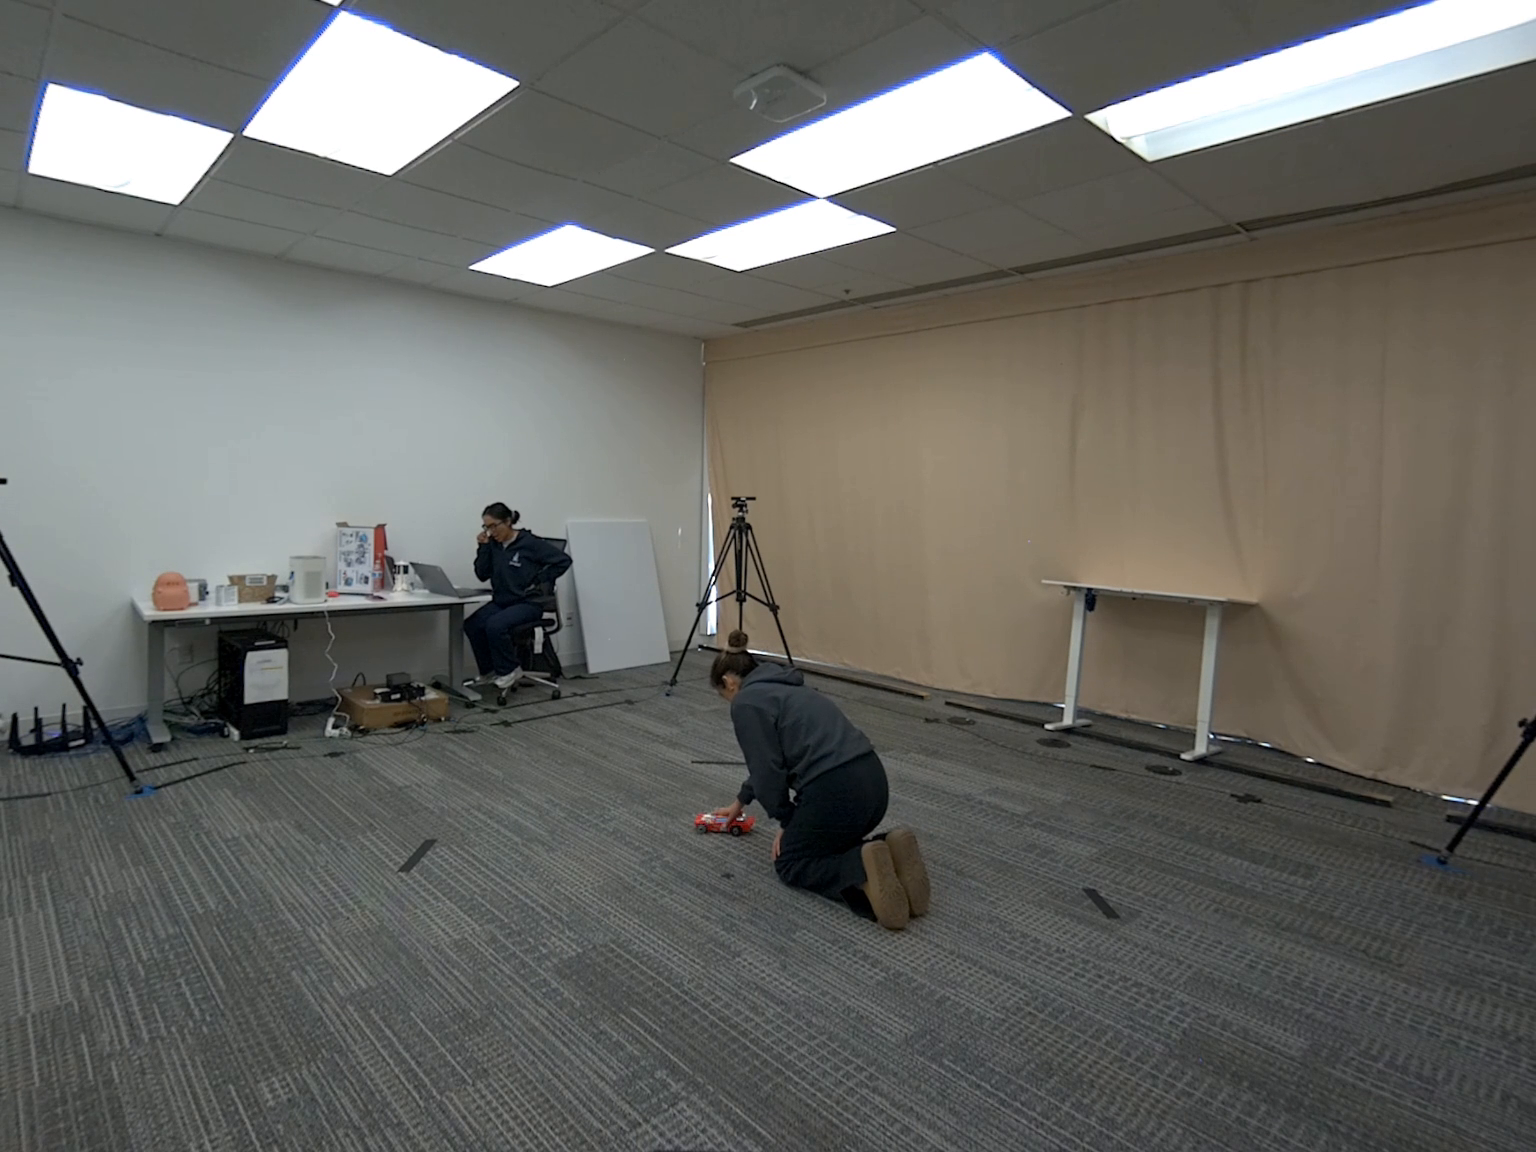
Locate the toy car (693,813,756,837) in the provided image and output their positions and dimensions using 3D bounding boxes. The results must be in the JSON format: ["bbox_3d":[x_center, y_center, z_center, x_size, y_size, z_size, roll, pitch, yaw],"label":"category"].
[{"bbox_3d":[-0.185,1.034,3.543,0.256,0.083,0.130,-7,3,8],"label":"toy car"}]
